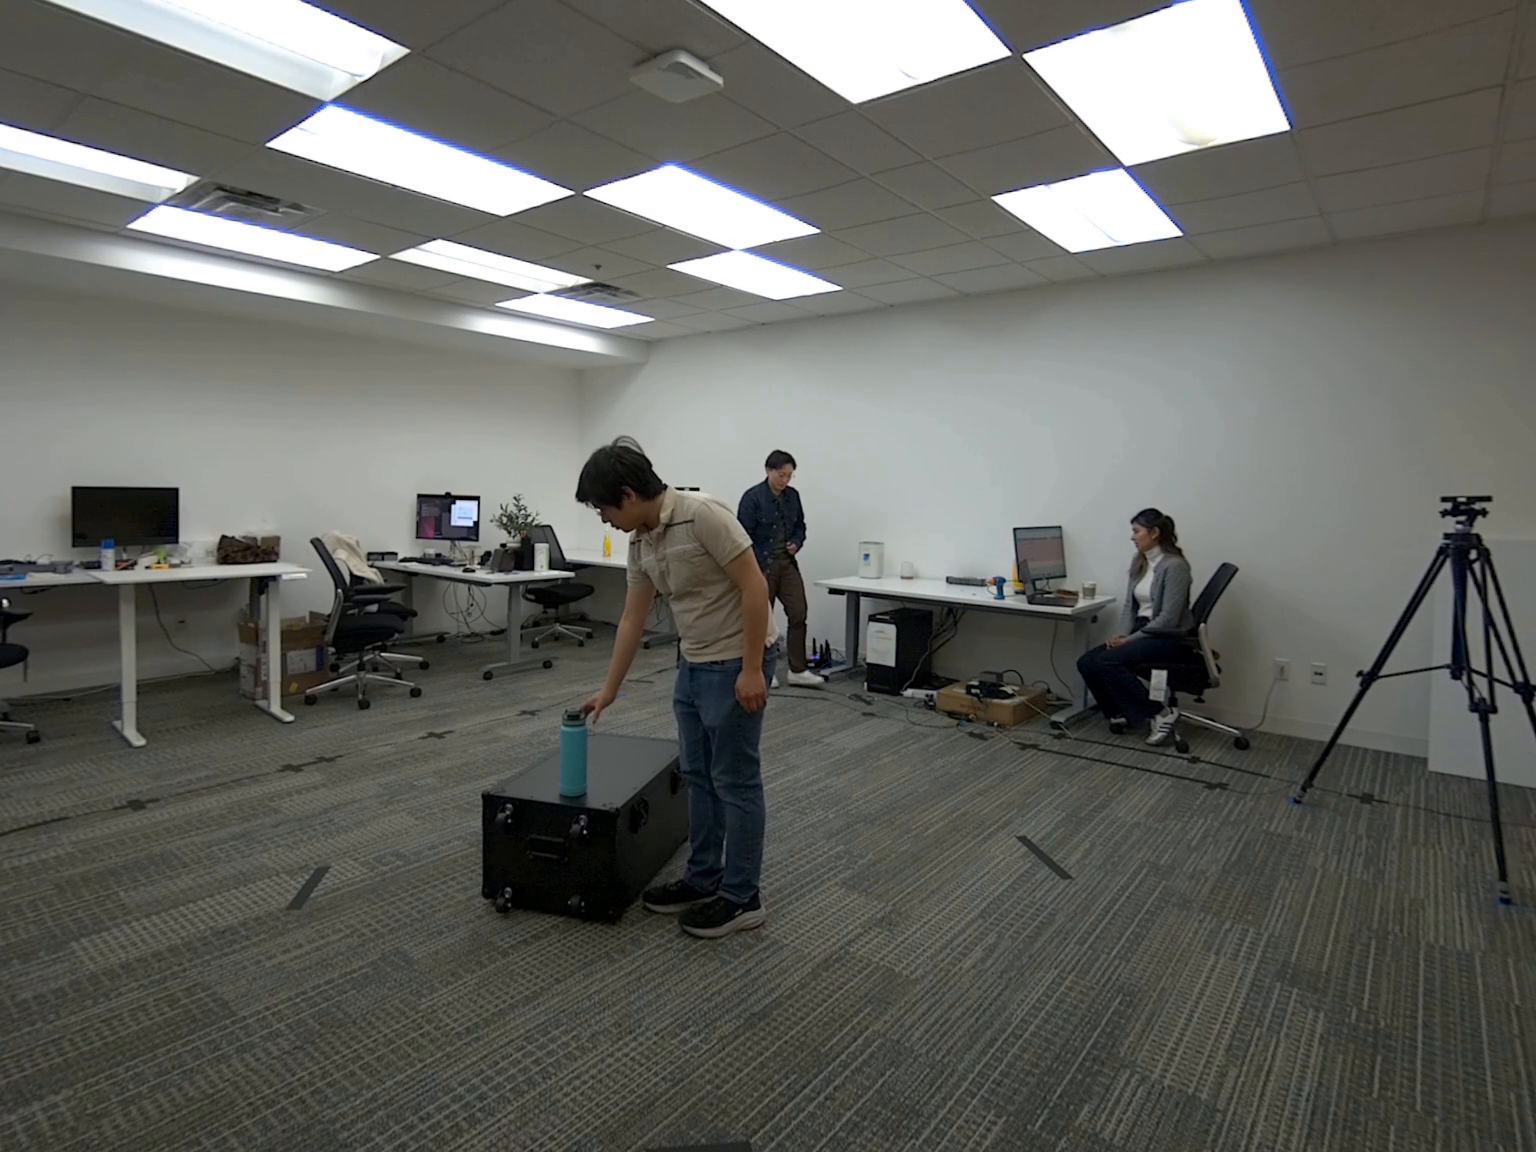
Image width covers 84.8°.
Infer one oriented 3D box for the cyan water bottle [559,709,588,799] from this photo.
[{"bbox_3d":[-0.657,0.575,2.820,0.092,0.283,0.093,1,3,-2],"label":"cyan water bottle"}]
